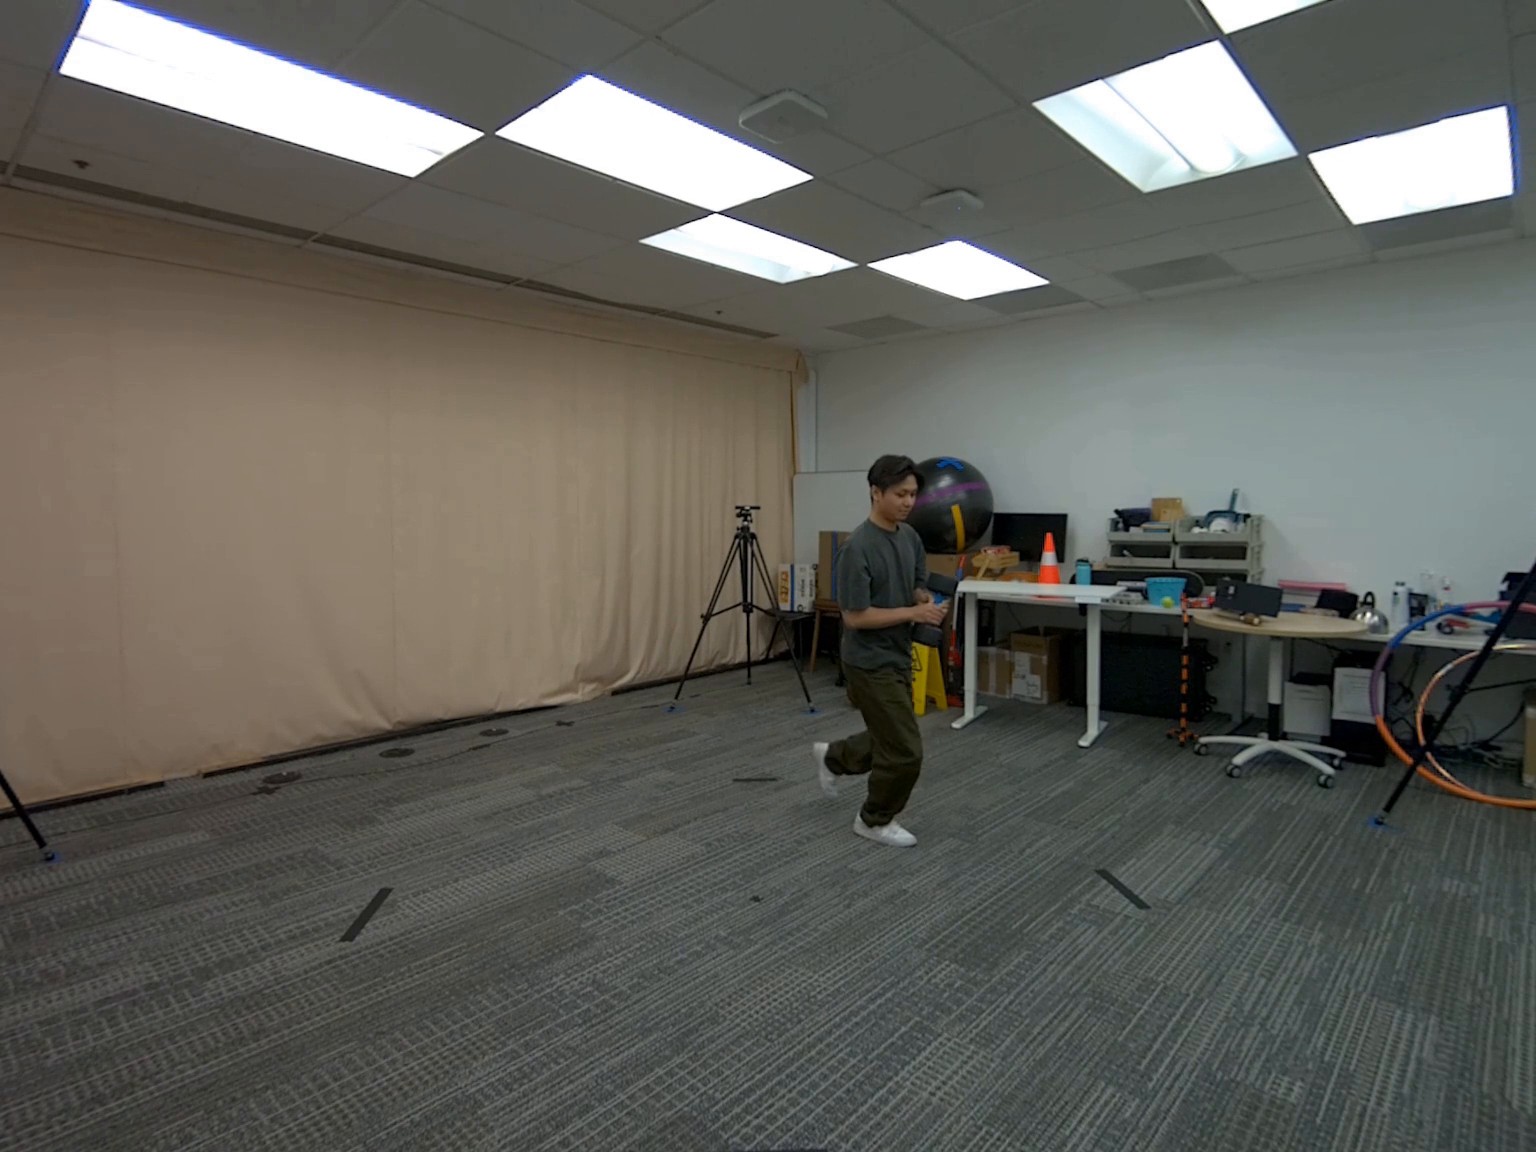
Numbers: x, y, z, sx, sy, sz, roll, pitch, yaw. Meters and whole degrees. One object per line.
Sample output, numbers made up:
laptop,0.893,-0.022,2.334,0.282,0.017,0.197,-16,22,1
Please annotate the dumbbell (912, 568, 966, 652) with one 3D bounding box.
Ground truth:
dumbbell,0.654,0.131,3.320,0.123,0.294,0.109,19,-3,-1
